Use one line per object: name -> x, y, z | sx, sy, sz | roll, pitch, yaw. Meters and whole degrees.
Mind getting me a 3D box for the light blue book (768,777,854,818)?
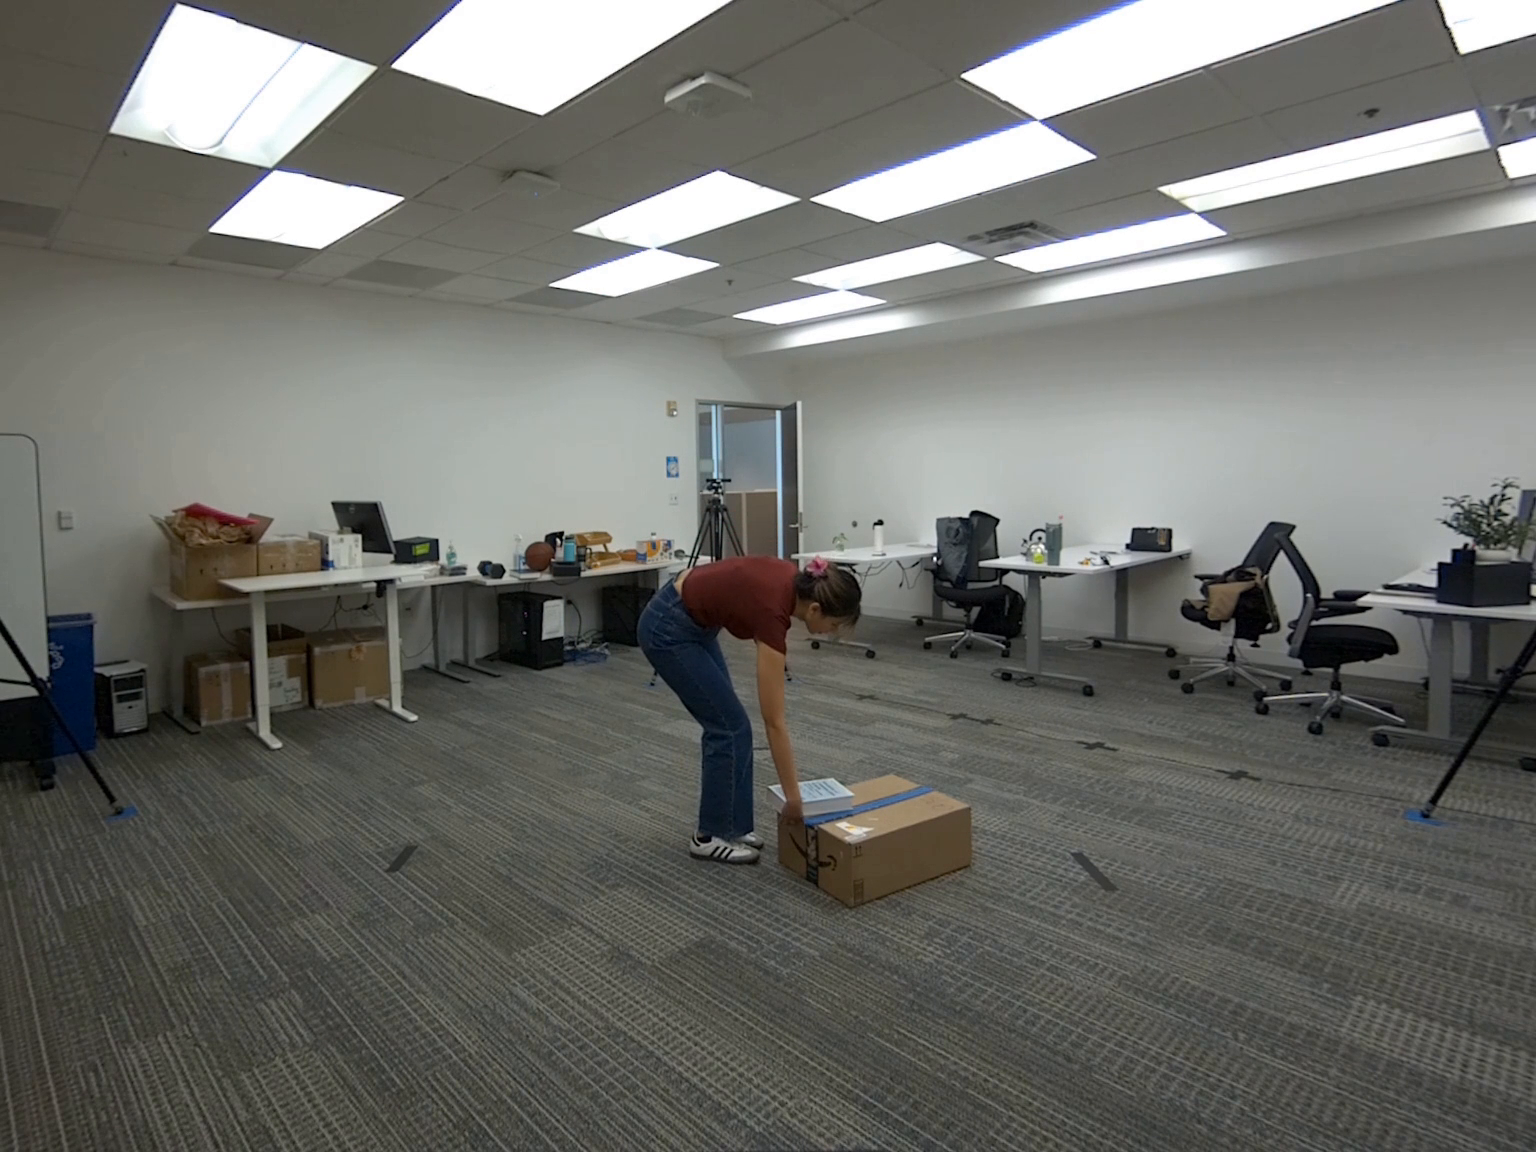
light blue book -> 0.152, 0.791, 3.078 | 0.256, 0.059, 0.196 | -3, 7, -21
